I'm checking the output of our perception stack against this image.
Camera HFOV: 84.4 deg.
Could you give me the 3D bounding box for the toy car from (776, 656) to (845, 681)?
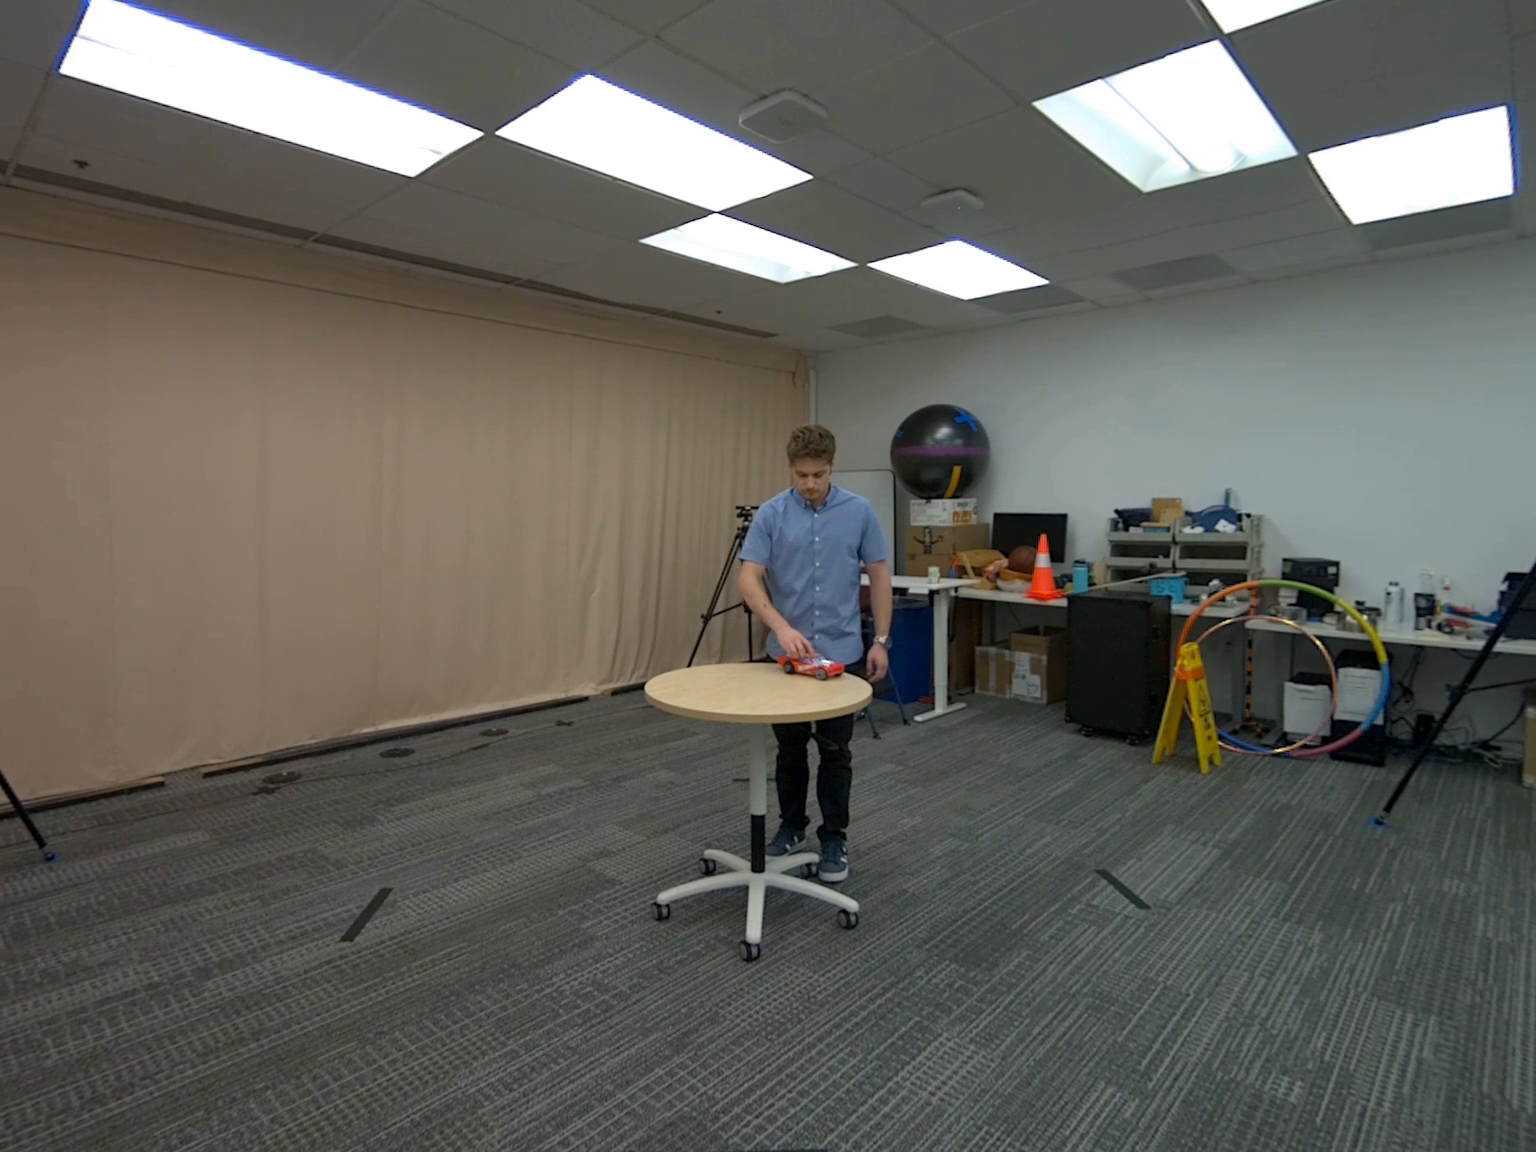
[{"bbox_3d":[0.142,0.322,3.036,0.264,0.083,0.126,19,16,40],"label":"toy car"}]
